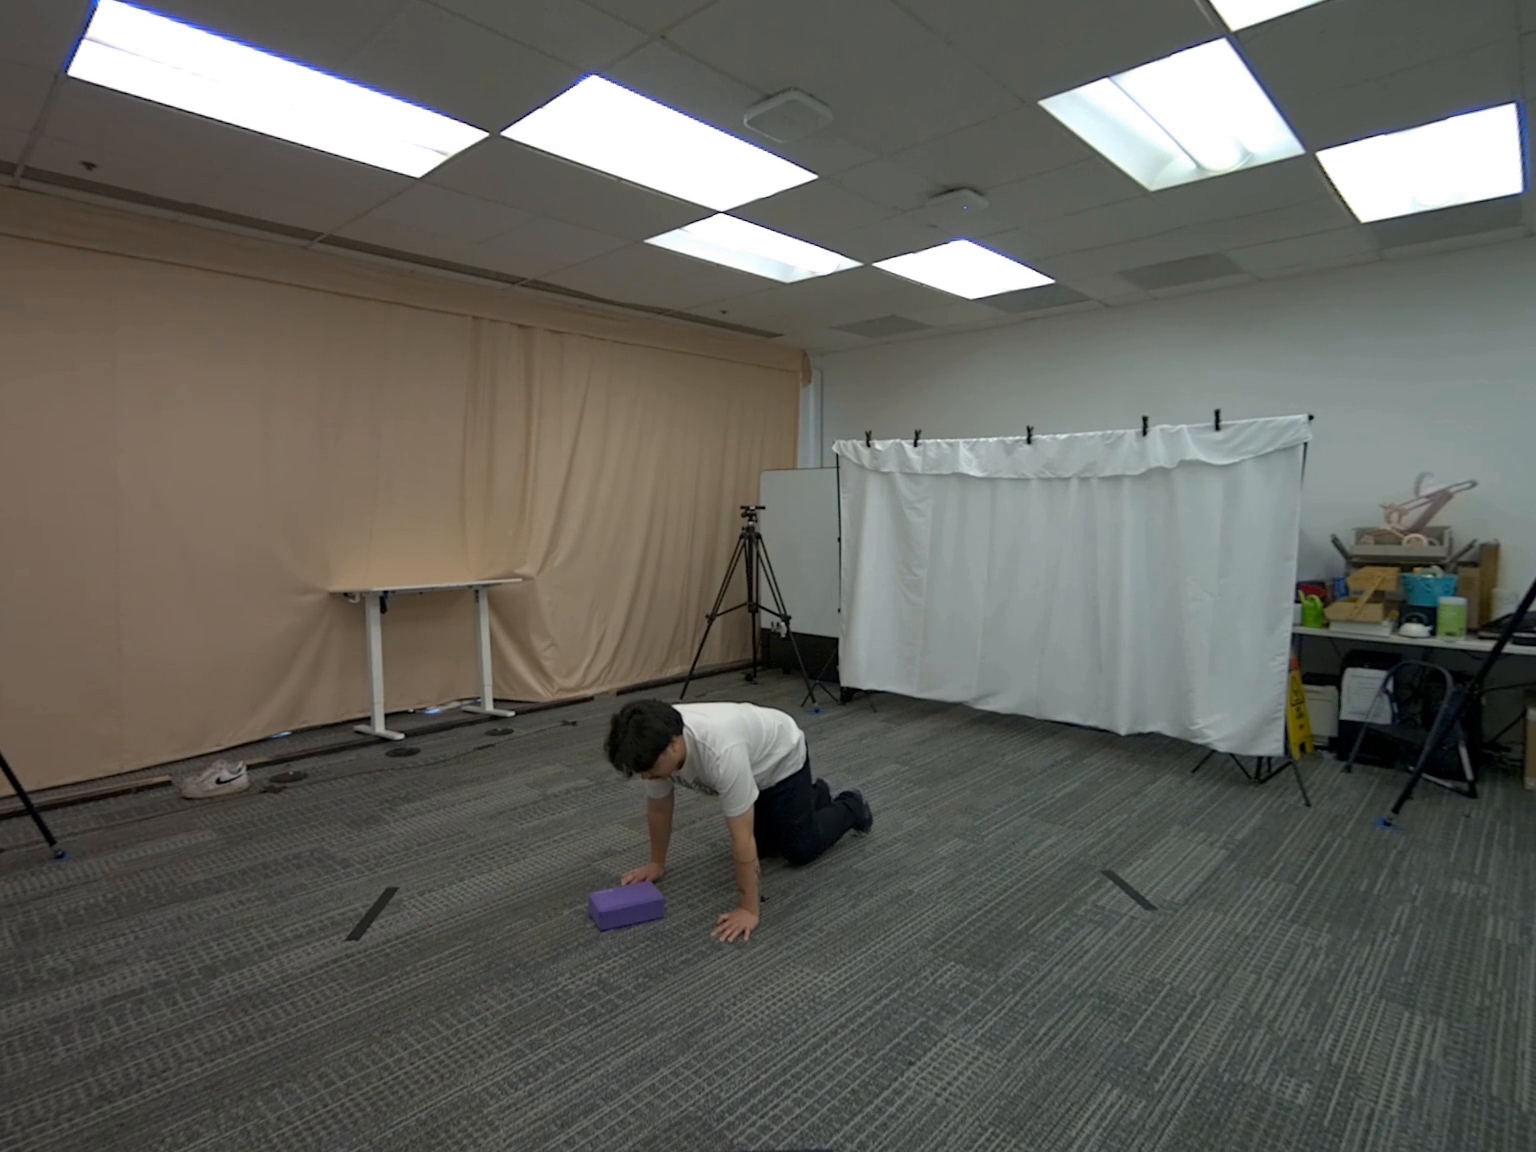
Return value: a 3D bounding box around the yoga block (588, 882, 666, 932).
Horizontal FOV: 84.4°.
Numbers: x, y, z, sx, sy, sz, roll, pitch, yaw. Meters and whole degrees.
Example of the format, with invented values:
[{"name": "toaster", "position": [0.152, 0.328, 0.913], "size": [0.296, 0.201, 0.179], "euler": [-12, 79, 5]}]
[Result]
[{"name": "yoga block", "position": [-0.481, 1.119, 2.862], "size": [0.224, 0.076, 0.153], "euler": [-3, 5, -25]}]
